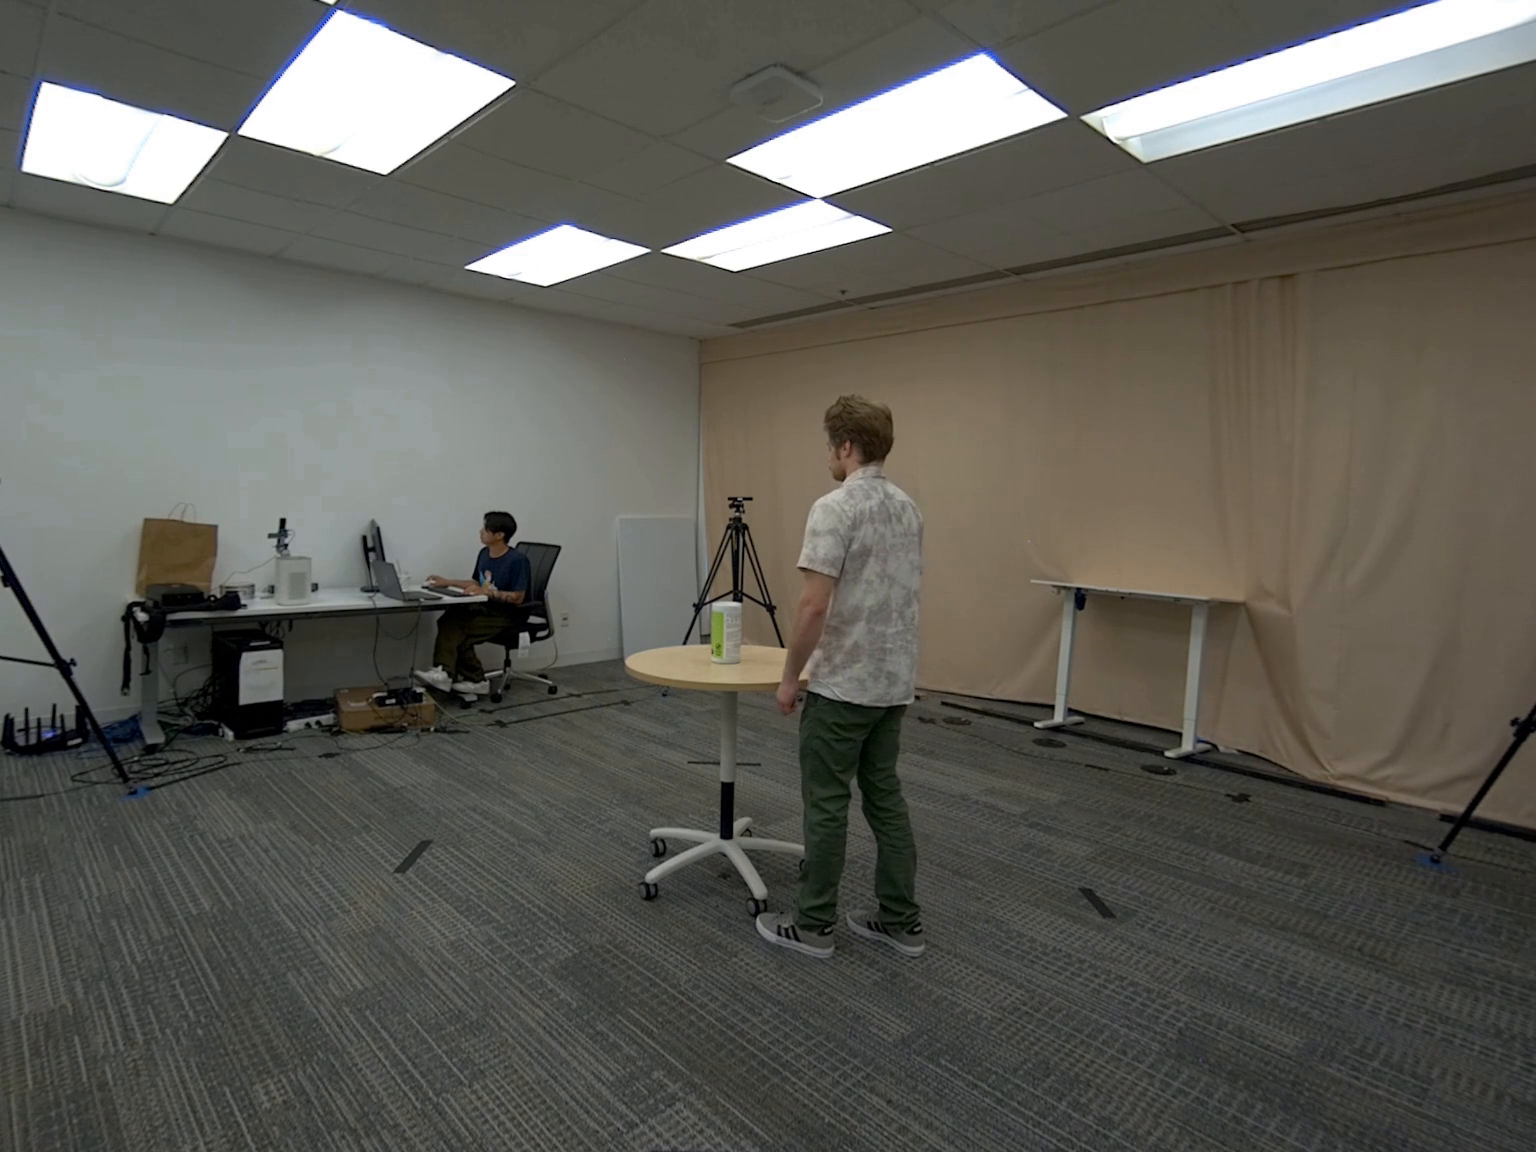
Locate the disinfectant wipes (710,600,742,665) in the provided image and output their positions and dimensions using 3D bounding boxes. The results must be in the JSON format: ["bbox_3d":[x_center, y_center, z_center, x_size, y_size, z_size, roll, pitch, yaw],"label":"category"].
[{"bbox_3d":[-0.157,0.207,3.075,0.118,0.217,0.118,0,3,-1],"label":"disinfectant wipes"}]
